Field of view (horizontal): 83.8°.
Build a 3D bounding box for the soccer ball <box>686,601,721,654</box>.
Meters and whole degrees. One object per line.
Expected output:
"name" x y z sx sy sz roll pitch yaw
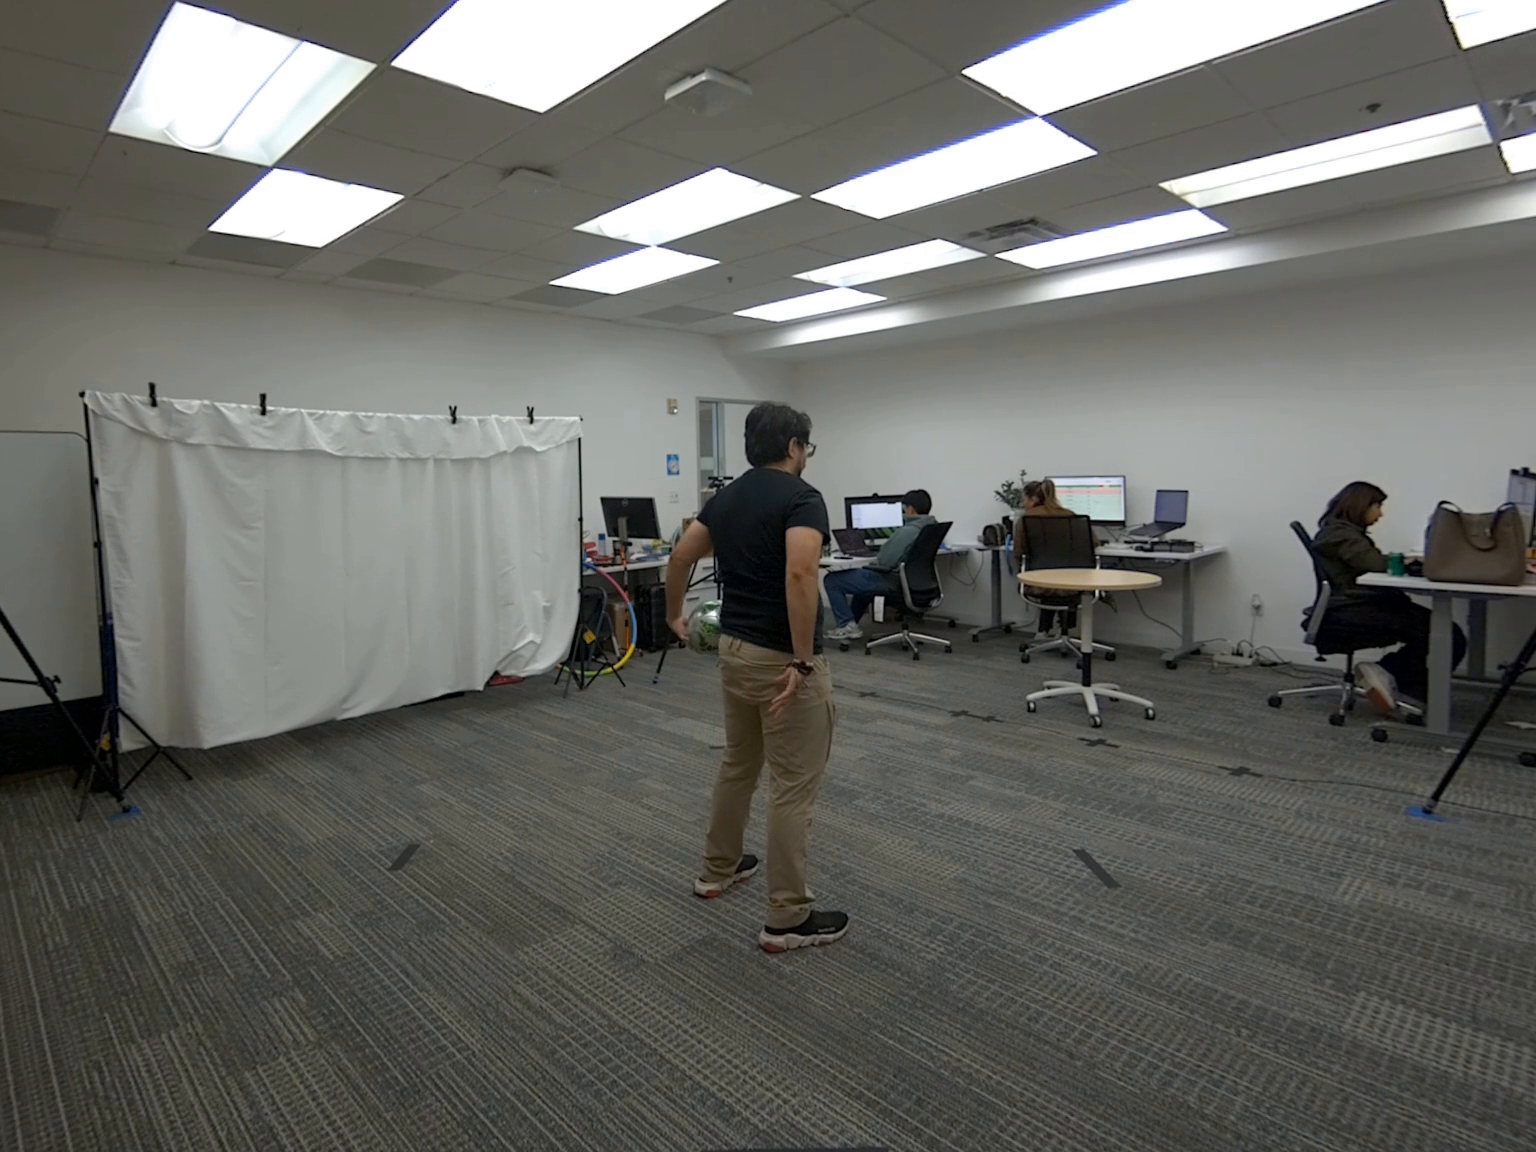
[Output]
"soccer ball" -0.179 0.175 2.892 0.187 0.187 0.188 -1 5 -2
